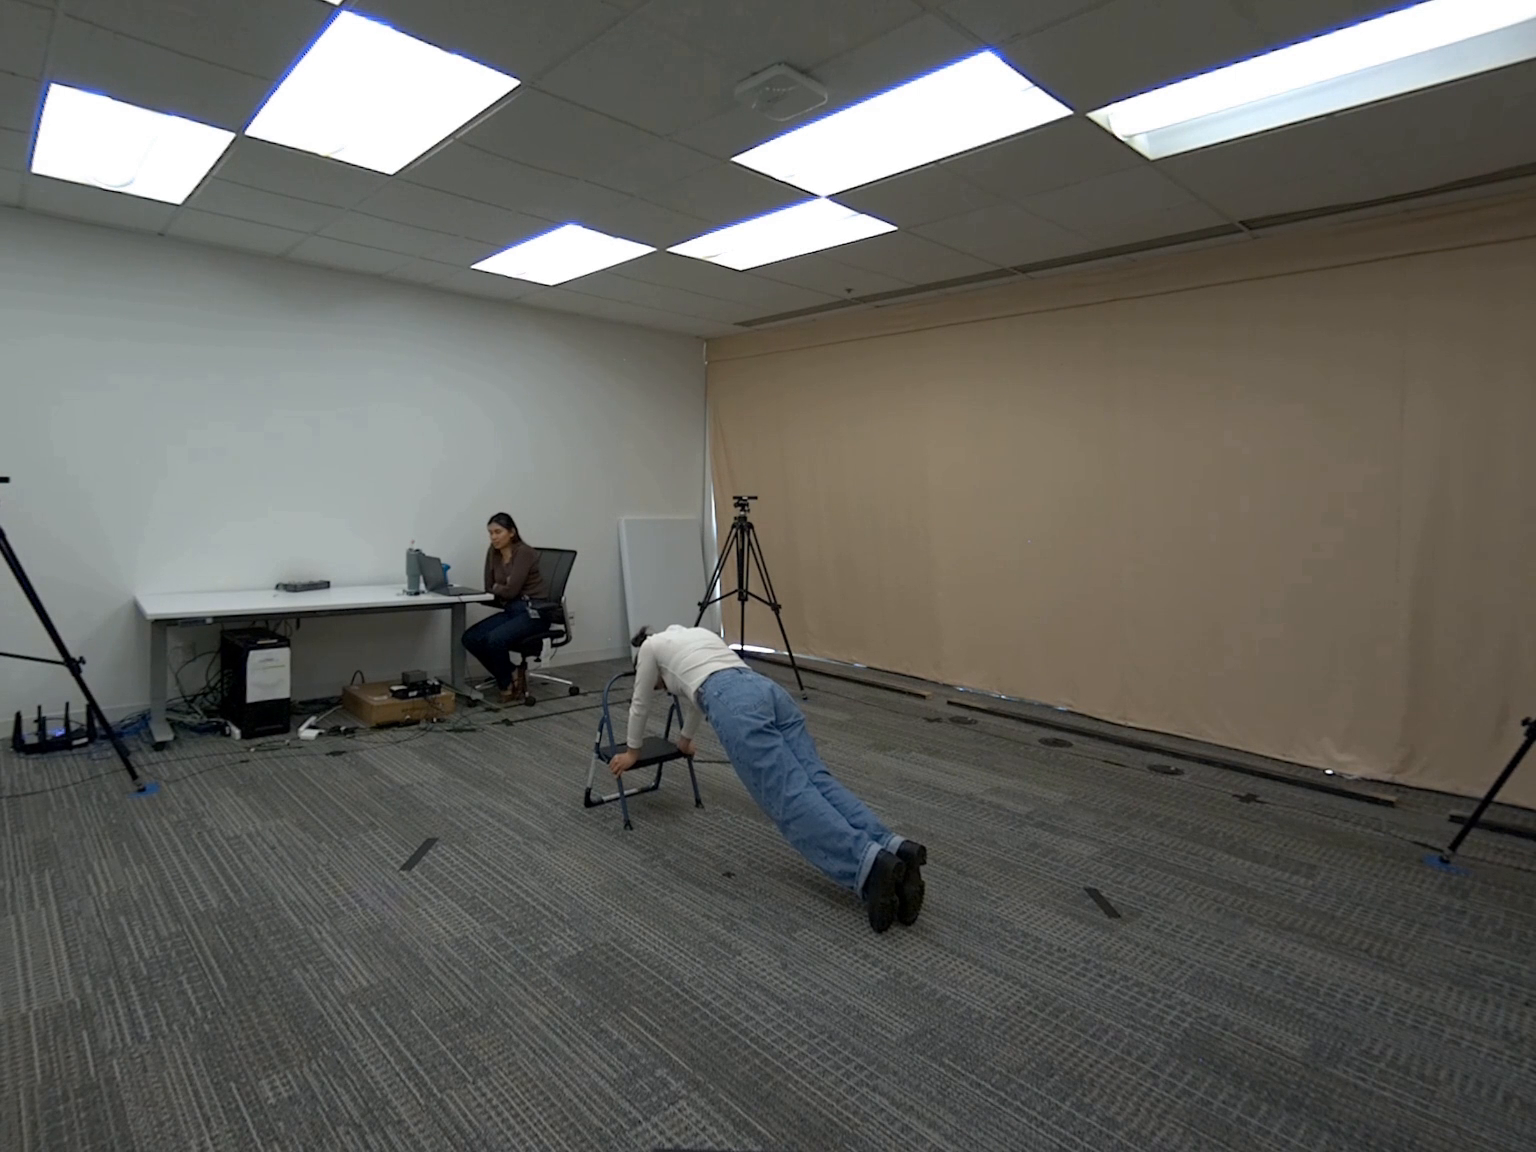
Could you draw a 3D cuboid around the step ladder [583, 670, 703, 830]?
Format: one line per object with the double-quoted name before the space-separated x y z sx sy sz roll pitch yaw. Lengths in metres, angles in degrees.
"step ladder" -0.558 0.737 3.755 0.358 0.605 0.421 5 5 45
